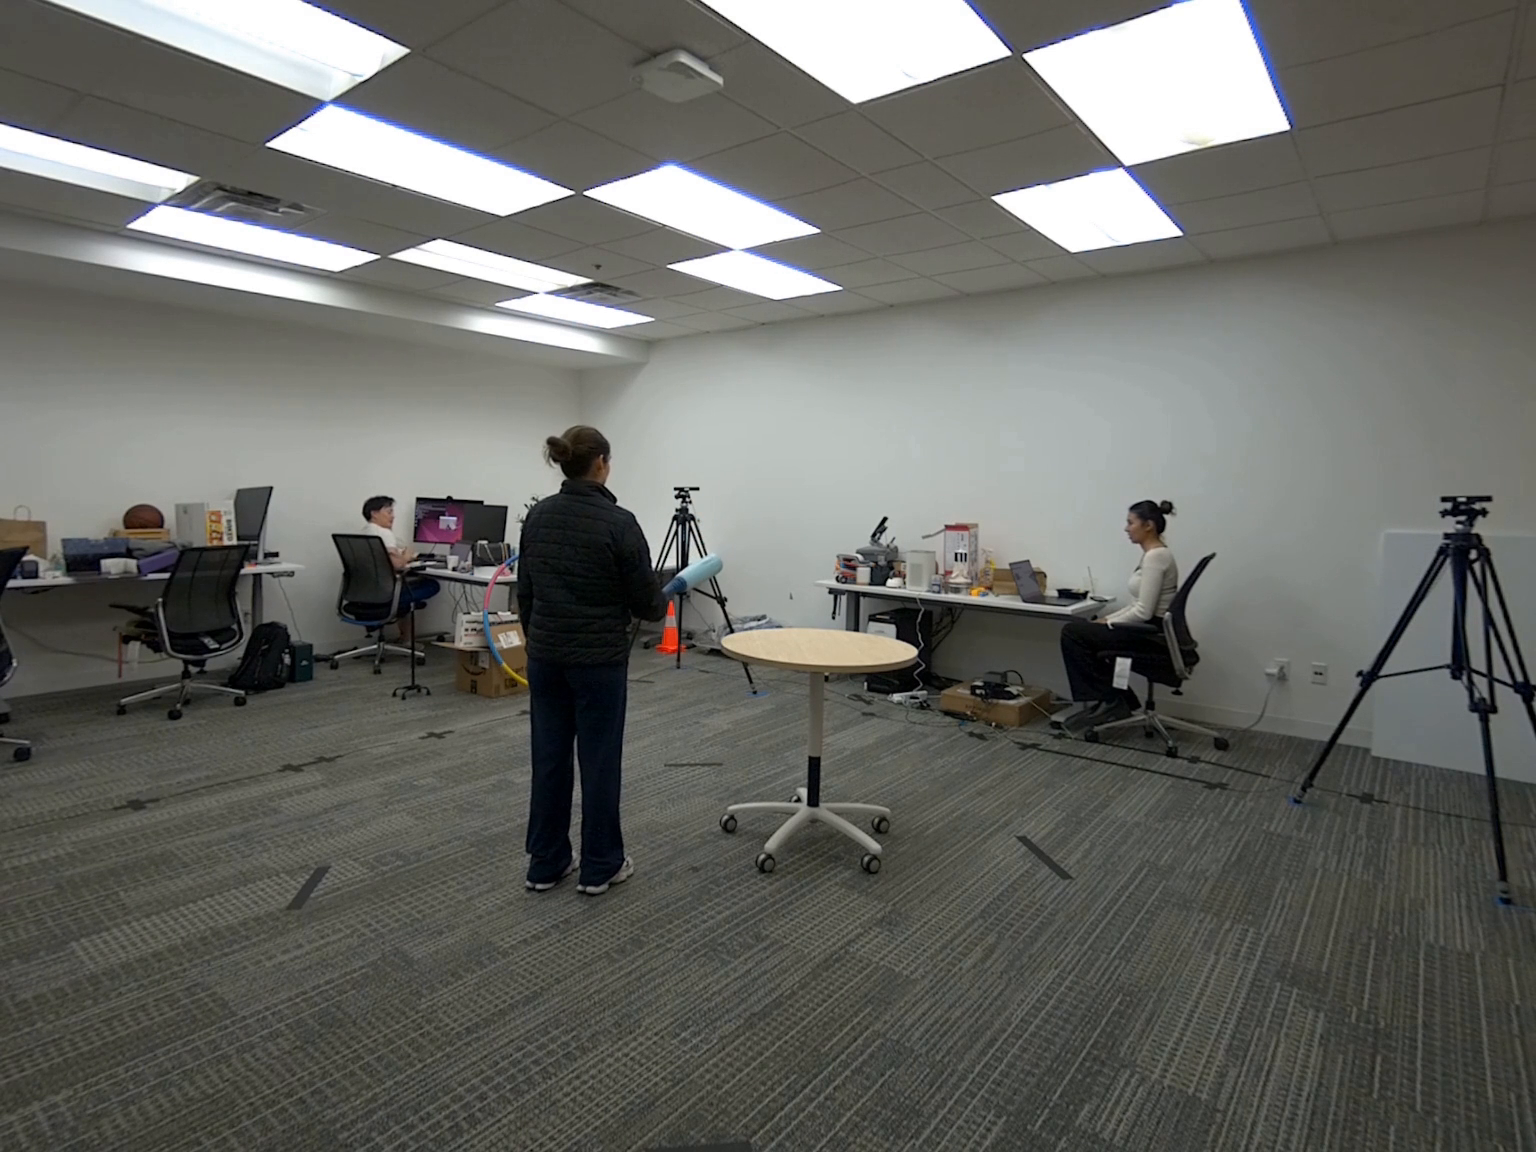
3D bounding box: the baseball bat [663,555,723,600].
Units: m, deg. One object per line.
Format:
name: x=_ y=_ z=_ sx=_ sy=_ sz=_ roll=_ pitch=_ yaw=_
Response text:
baseball bat: x=-0.342 y=0.036 z=3.355 sx=0.092 sy=0.087 sz=0.537 roll=3 pitch=24 yaw=34
